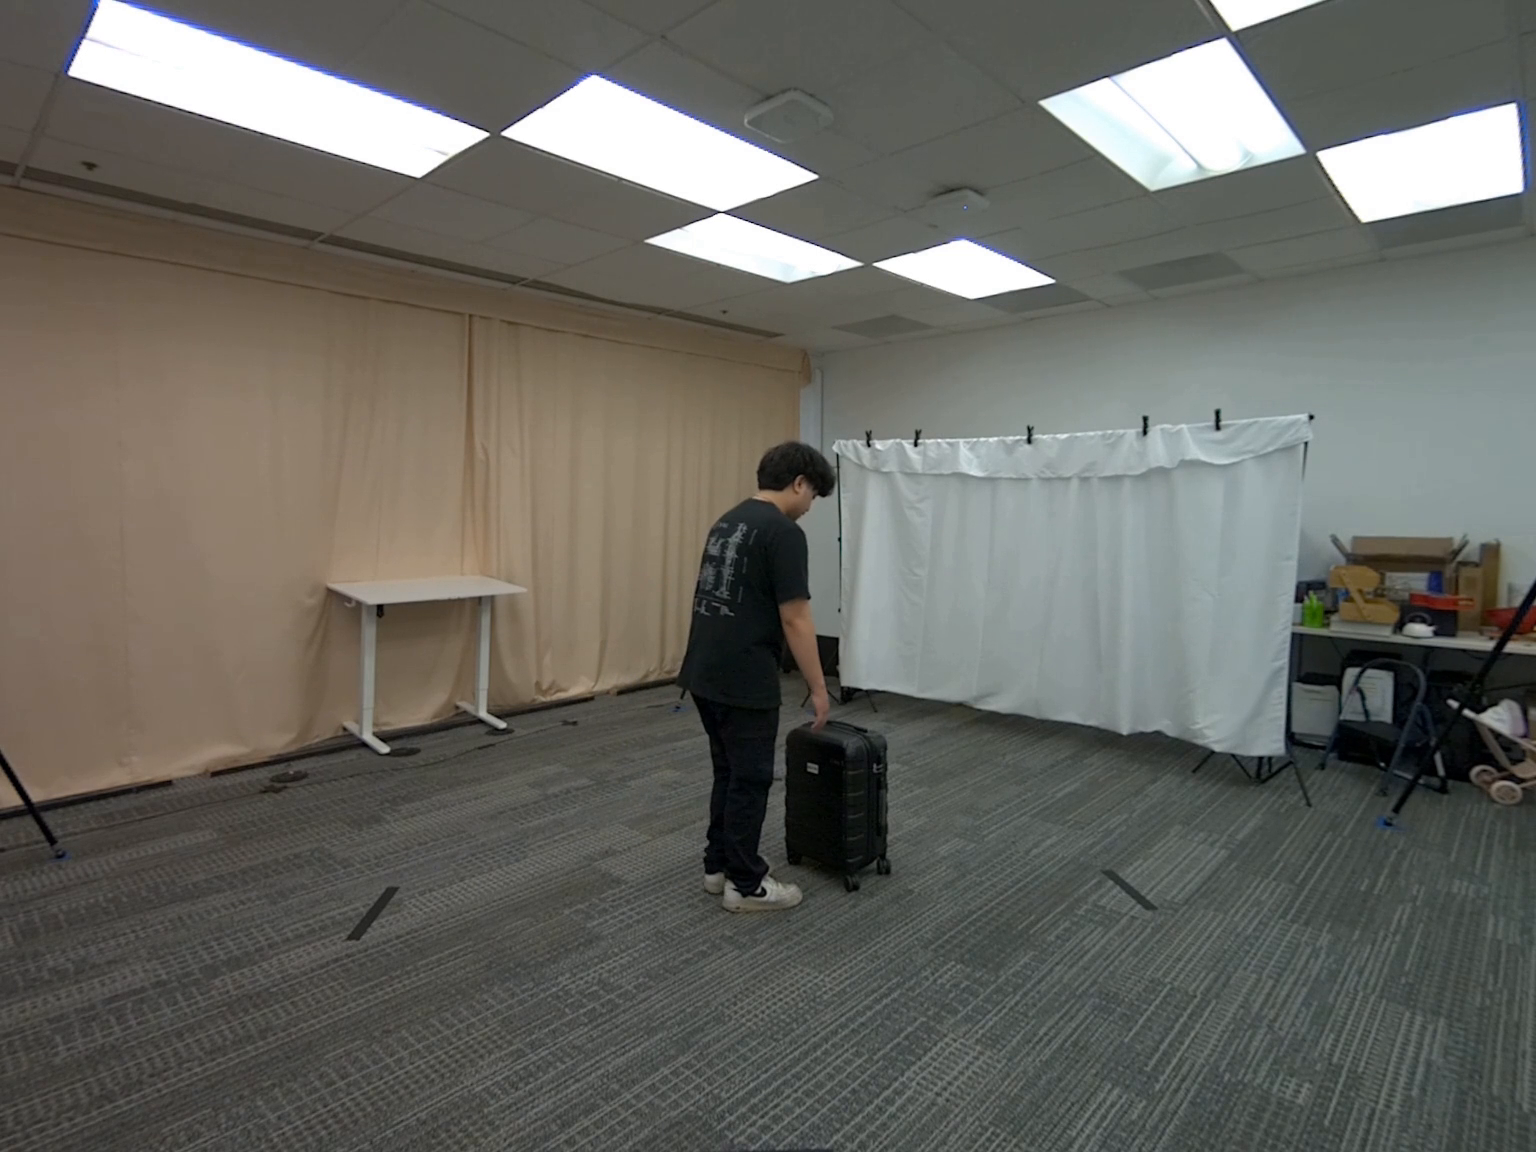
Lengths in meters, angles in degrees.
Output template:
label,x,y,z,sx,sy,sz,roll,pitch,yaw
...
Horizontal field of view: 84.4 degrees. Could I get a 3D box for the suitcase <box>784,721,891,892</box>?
label,x,y,z,sx,sy,sz,roll,pitch,yaw
suitcase,0.267,0.845,3.228,0.240,0.548,0.388,-3,5,-44
